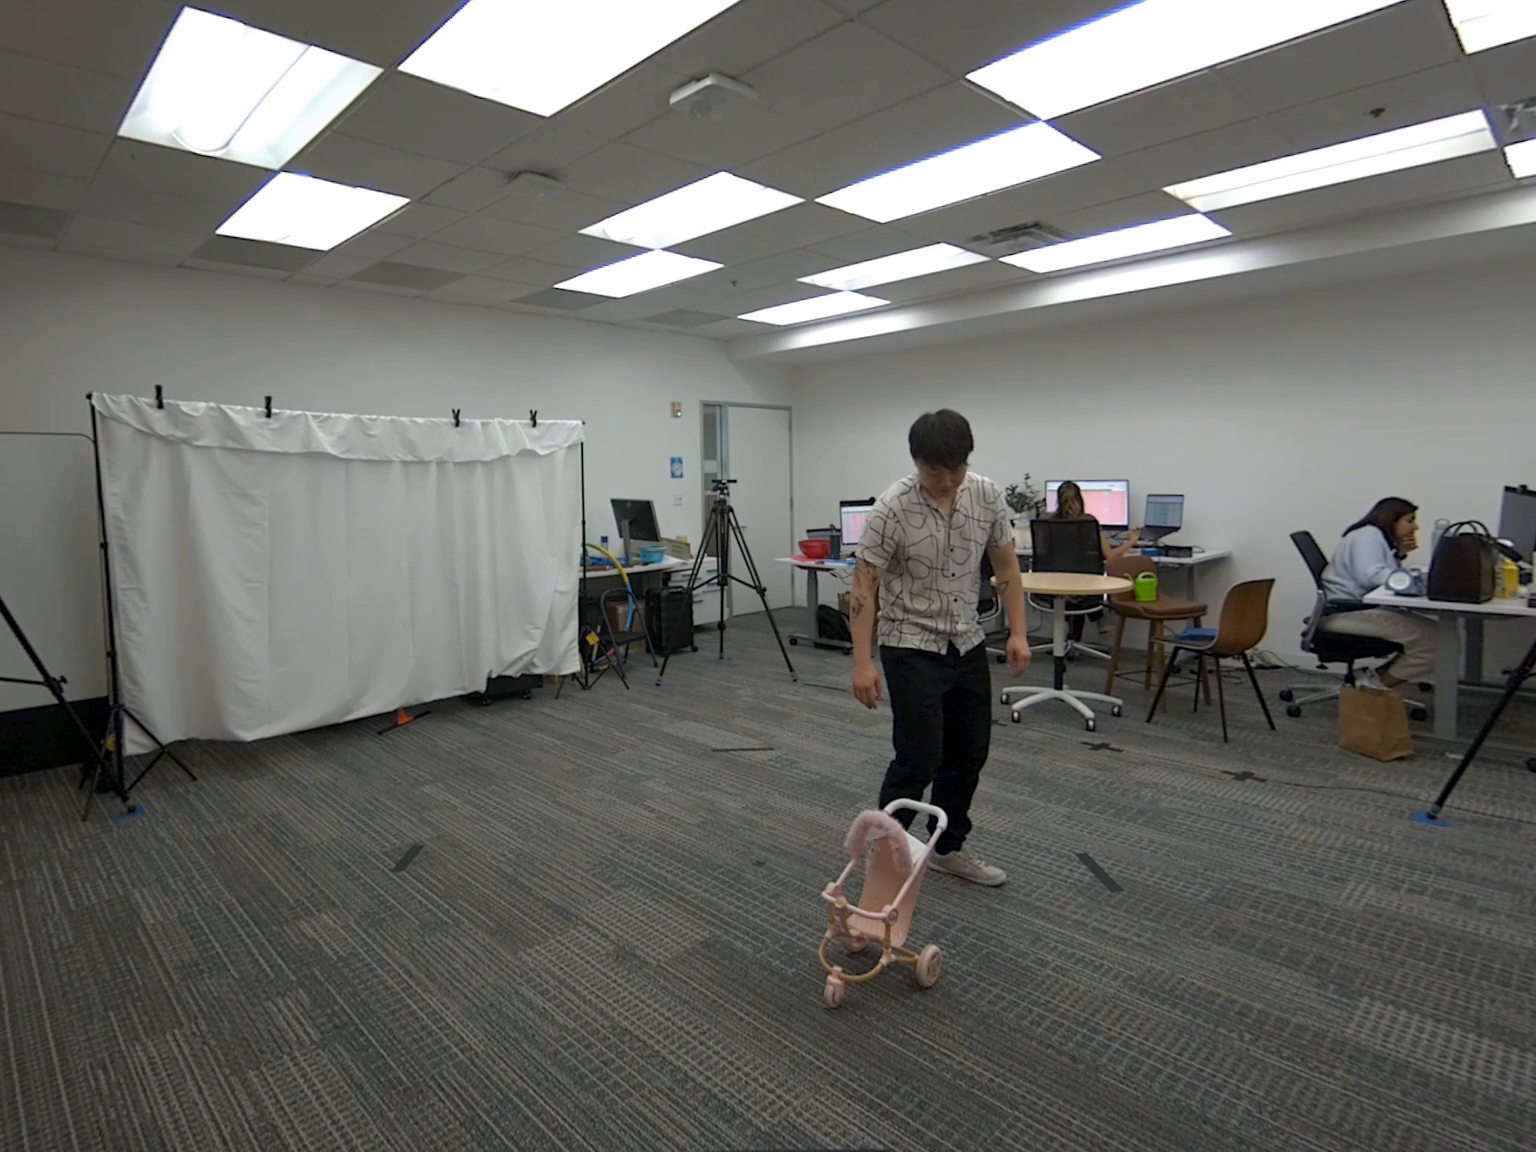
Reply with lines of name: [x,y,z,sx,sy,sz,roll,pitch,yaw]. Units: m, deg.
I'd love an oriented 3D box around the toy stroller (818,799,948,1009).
toy stroller: [0.308,0.901,2.381,0.329,0.538,0.290,16,-9,-40]
